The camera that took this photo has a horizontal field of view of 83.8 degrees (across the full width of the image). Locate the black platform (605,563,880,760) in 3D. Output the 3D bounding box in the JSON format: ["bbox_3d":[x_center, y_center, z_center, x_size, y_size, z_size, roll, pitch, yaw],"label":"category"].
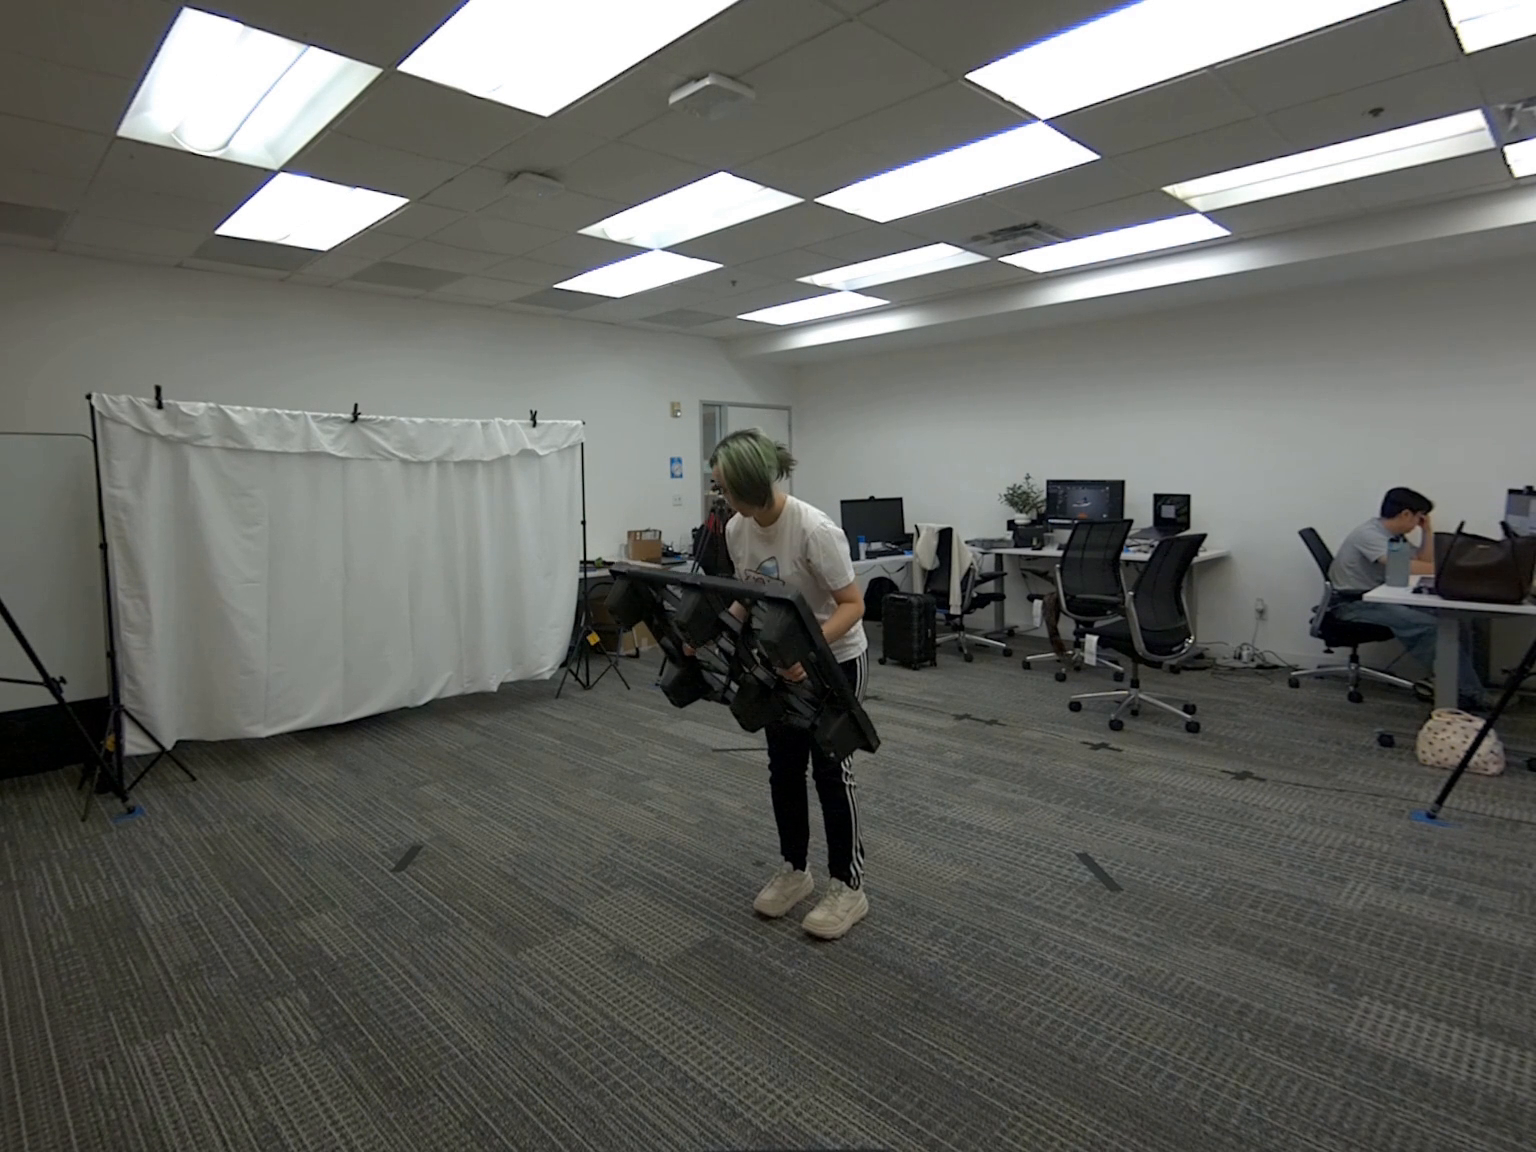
[{"bbox_3d":[-0.118,0.264,2.533,0.831,0.586,0.143,8,44,46],"label":"black platform"}]
